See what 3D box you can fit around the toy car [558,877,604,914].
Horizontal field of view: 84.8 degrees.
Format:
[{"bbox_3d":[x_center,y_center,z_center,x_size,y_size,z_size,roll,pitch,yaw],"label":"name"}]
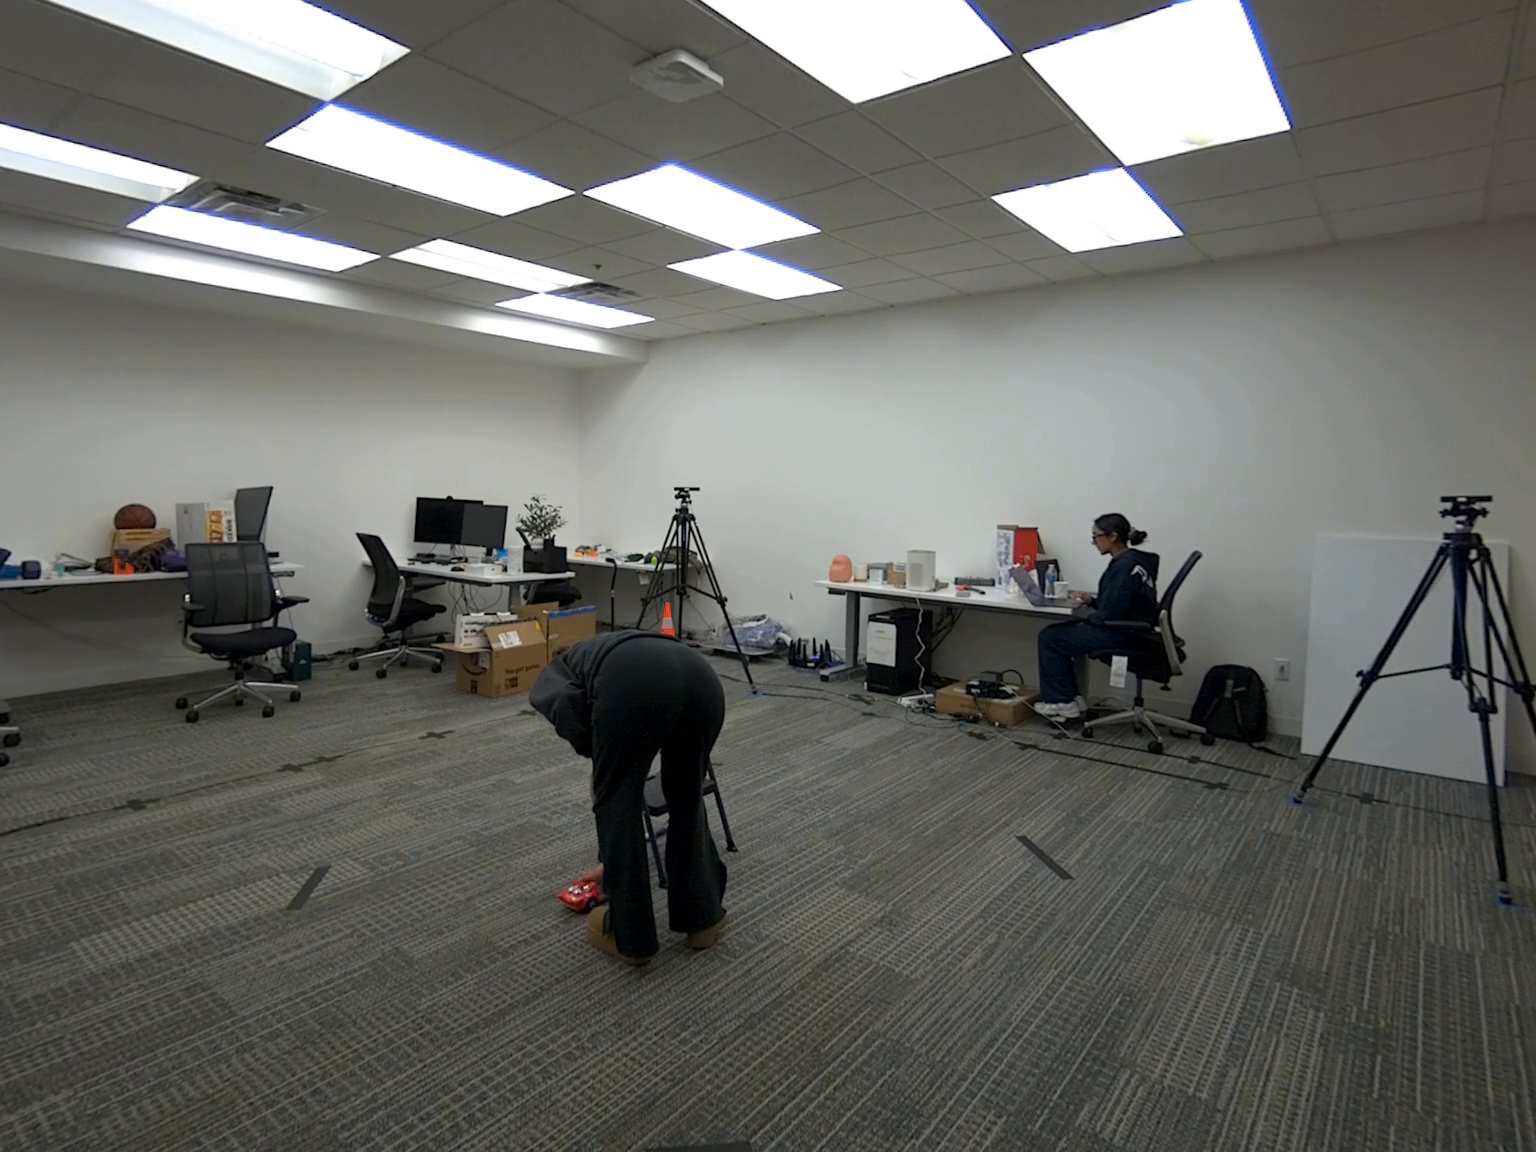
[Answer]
[{"bbox_3d":[-0.591,1.057,2.841,0.134,0.083,0.245,4,-4,40],"label":"toy car"}]
